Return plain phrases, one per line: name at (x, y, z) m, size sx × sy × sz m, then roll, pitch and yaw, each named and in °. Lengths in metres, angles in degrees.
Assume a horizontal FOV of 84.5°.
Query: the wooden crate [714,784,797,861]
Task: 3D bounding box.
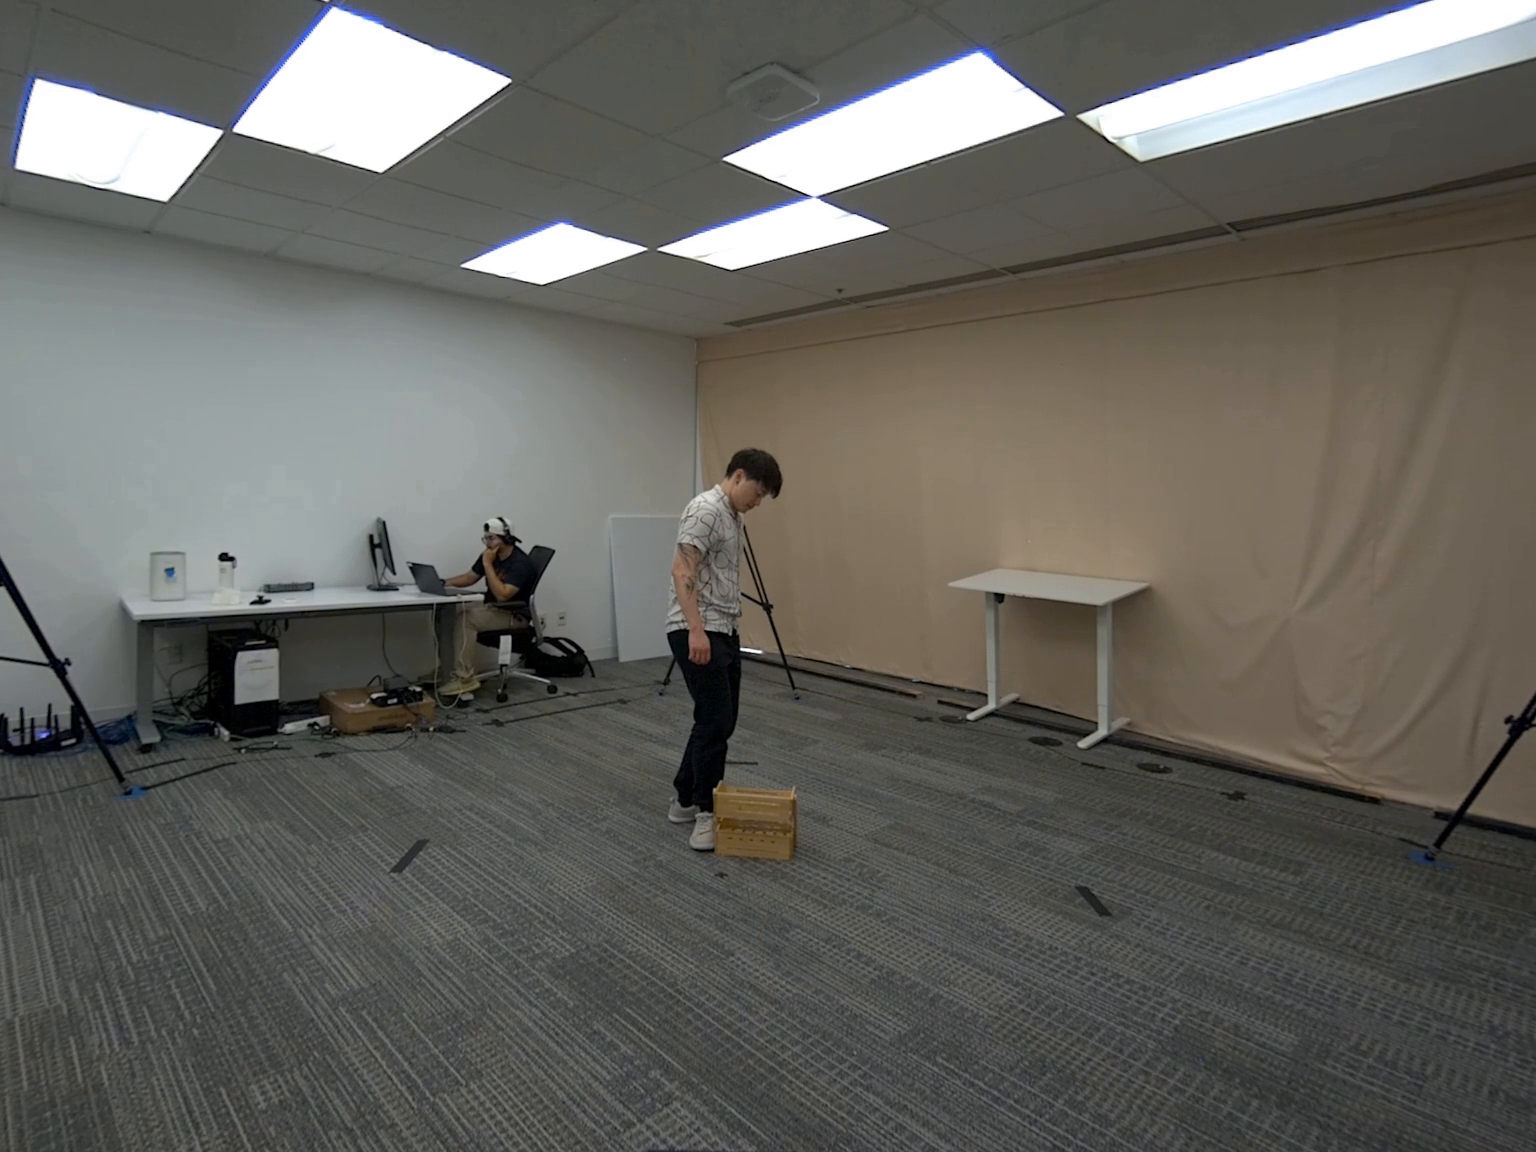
wooden crate at (-0.055, 0.951, 3.359) m, size 0.326 × 0.272 × 0.301 m, roll 1°, pitch 5°, yaw 7°
